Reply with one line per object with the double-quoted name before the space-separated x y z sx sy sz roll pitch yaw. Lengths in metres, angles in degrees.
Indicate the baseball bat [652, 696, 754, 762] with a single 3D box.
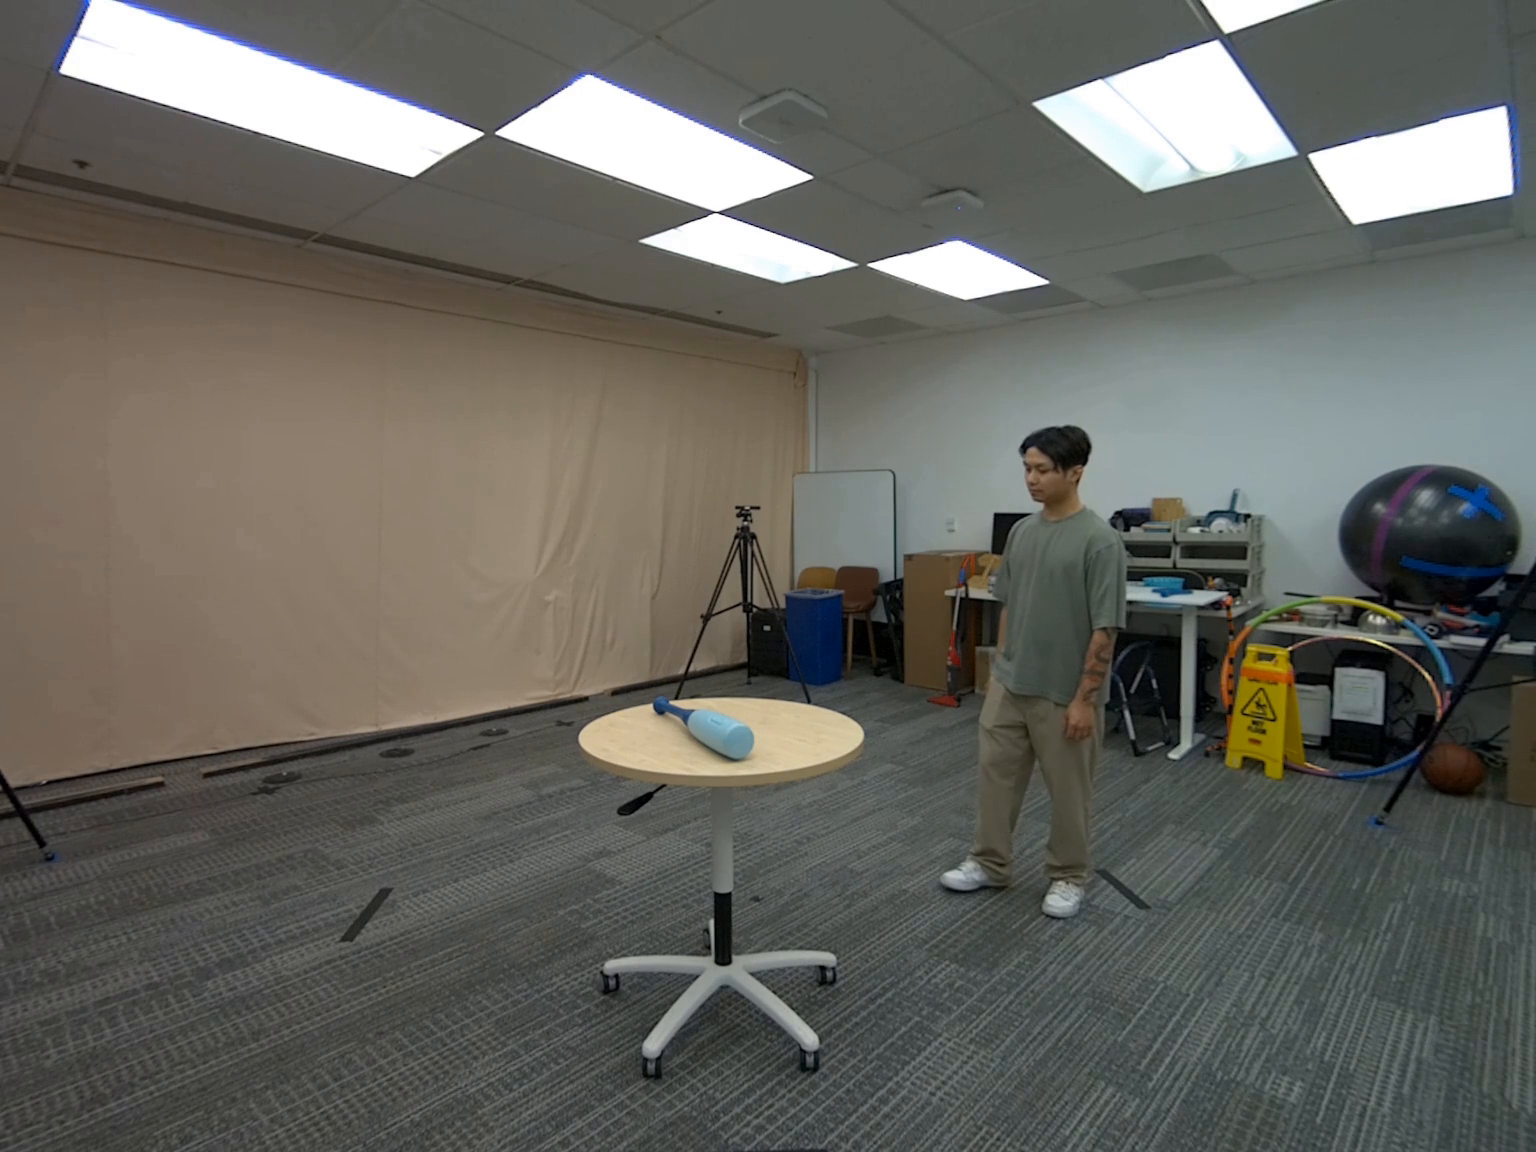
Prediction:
"baseball bat" -0.171 0.385 2.246 0.087 0.089 0.556 -2 2 -24
